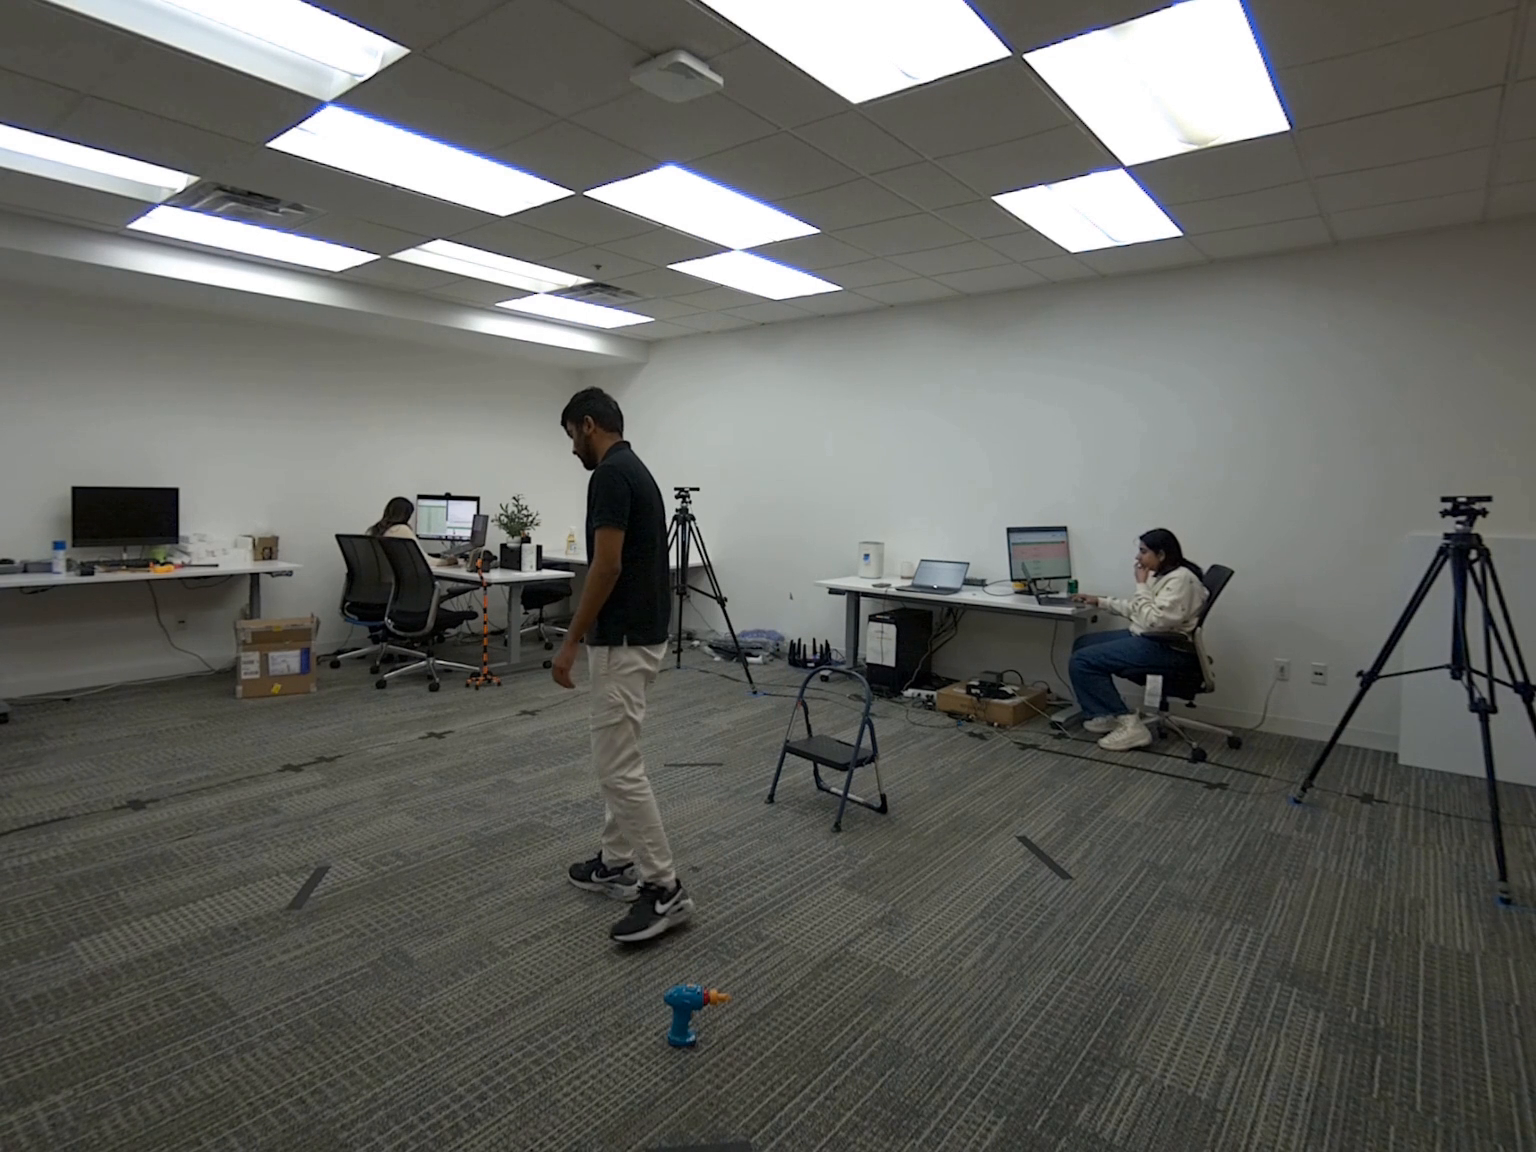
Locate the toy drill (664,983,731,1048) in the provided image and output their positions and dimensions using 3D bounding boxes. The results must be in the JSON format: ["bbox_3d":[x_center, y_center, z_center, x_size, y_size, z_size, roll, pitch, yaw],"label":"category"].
[{"bbox_3d":[-0.182,1.099,2.117,0.169,0.145,0.061,1,5,-1],"label":"toy drill"}]
